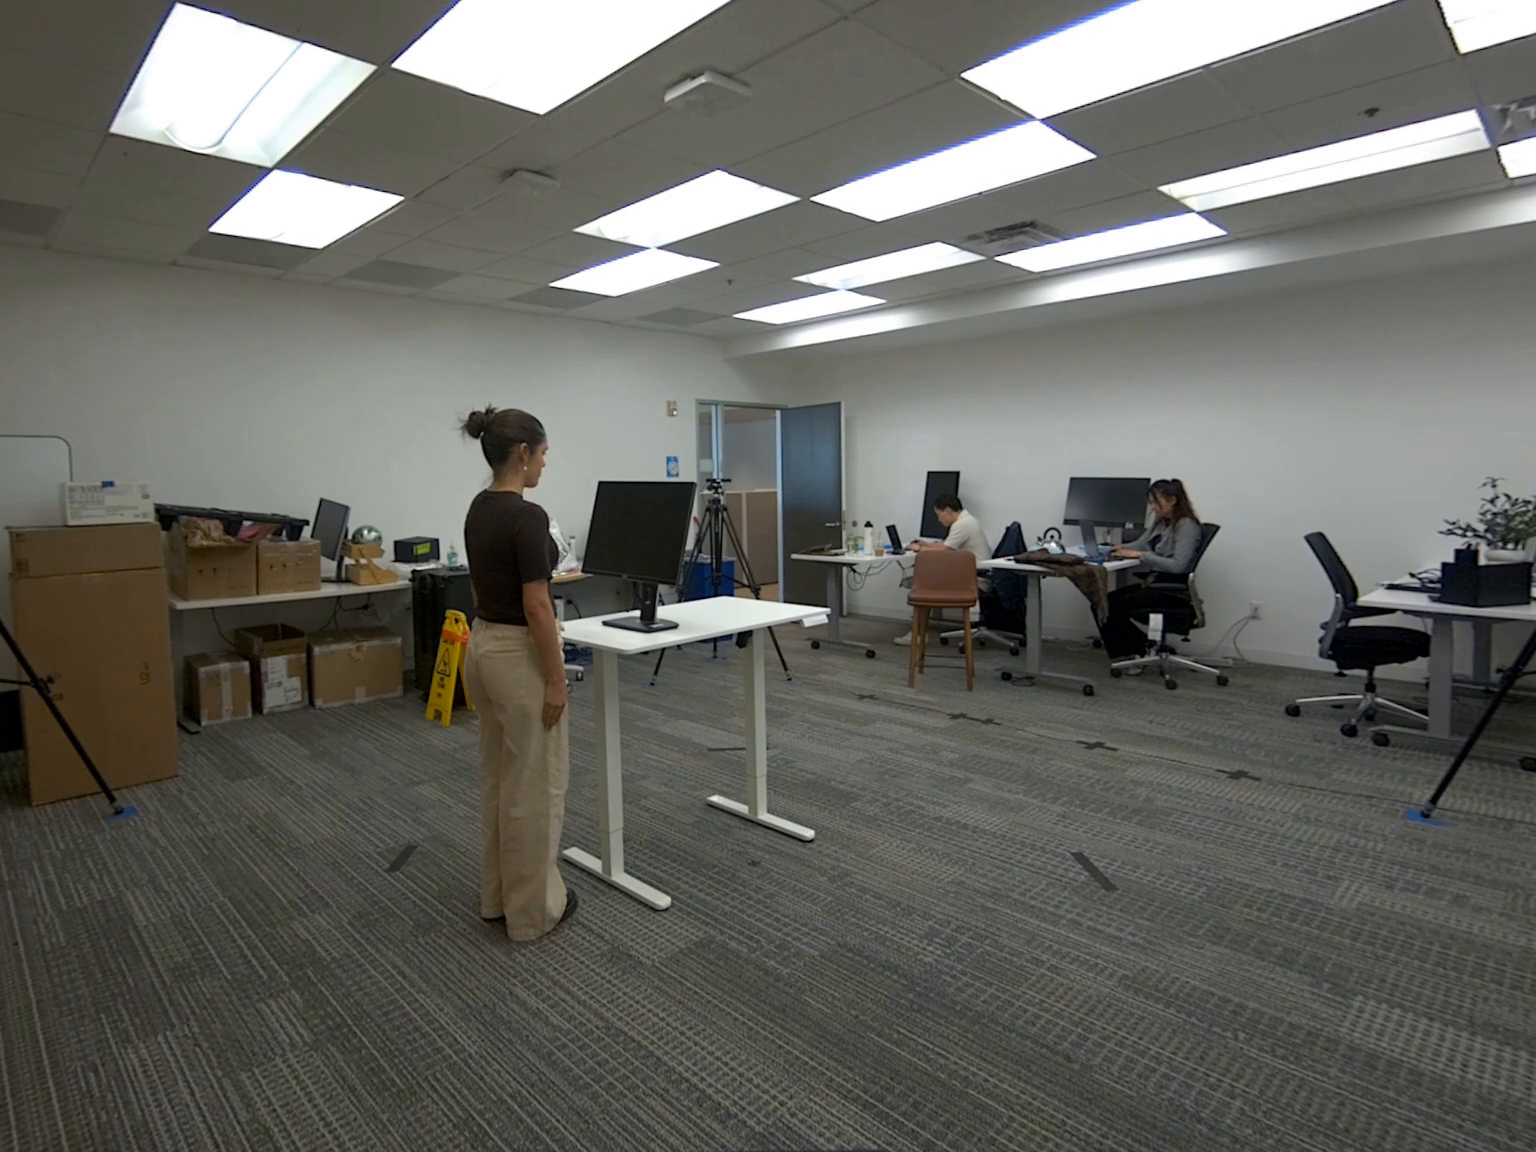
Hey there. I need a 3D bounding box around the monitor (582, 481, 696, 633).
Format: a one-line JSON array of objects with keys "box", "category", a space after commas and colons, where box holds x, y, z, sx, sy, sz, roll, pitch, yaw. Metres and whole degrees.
[{"box": [-0.446, -0.073, 3.032, 0.556, 0.521, 0.182, 5, 4, 42], "category": "monitor"}]
